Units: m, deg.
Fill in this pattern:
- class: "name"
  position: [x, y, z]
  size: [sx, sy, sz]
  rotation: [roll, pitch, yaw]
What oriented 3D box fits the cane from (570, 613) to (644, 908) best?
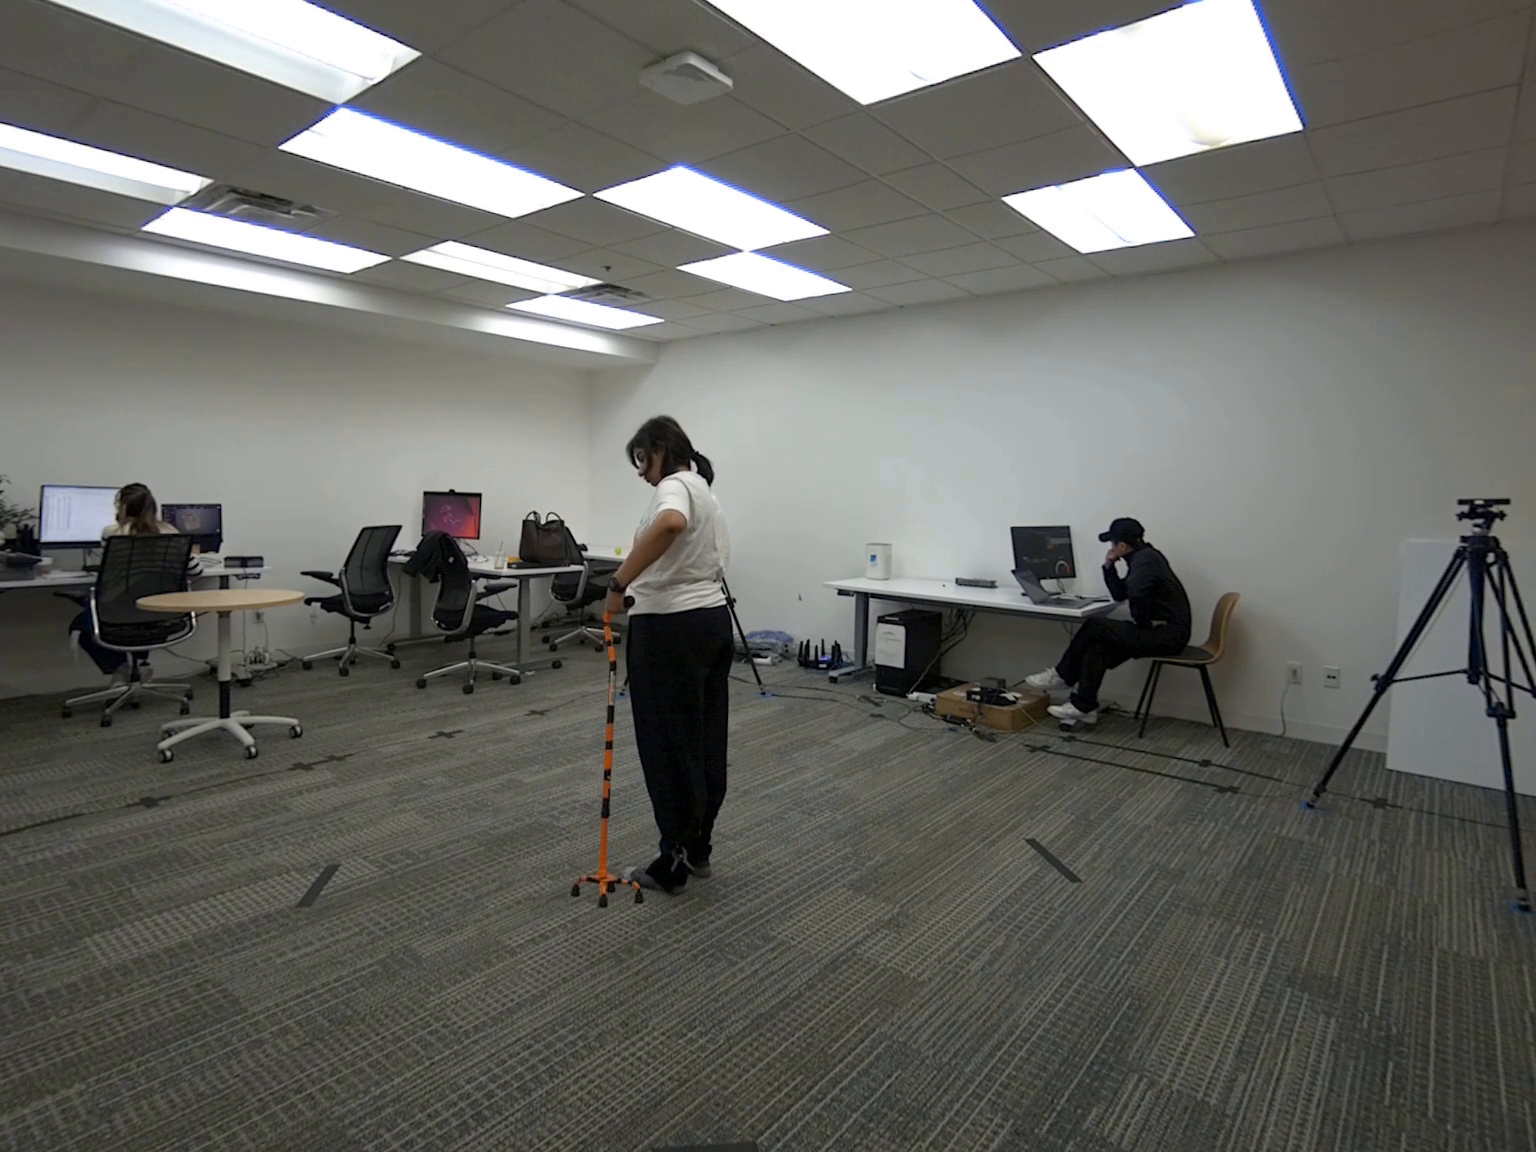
- class: "cane"
  position: [-0.488, 0.532, 2.658]
  size: [0.146, 0.917, 0.211]
  rotation: [9, -13, -38]
